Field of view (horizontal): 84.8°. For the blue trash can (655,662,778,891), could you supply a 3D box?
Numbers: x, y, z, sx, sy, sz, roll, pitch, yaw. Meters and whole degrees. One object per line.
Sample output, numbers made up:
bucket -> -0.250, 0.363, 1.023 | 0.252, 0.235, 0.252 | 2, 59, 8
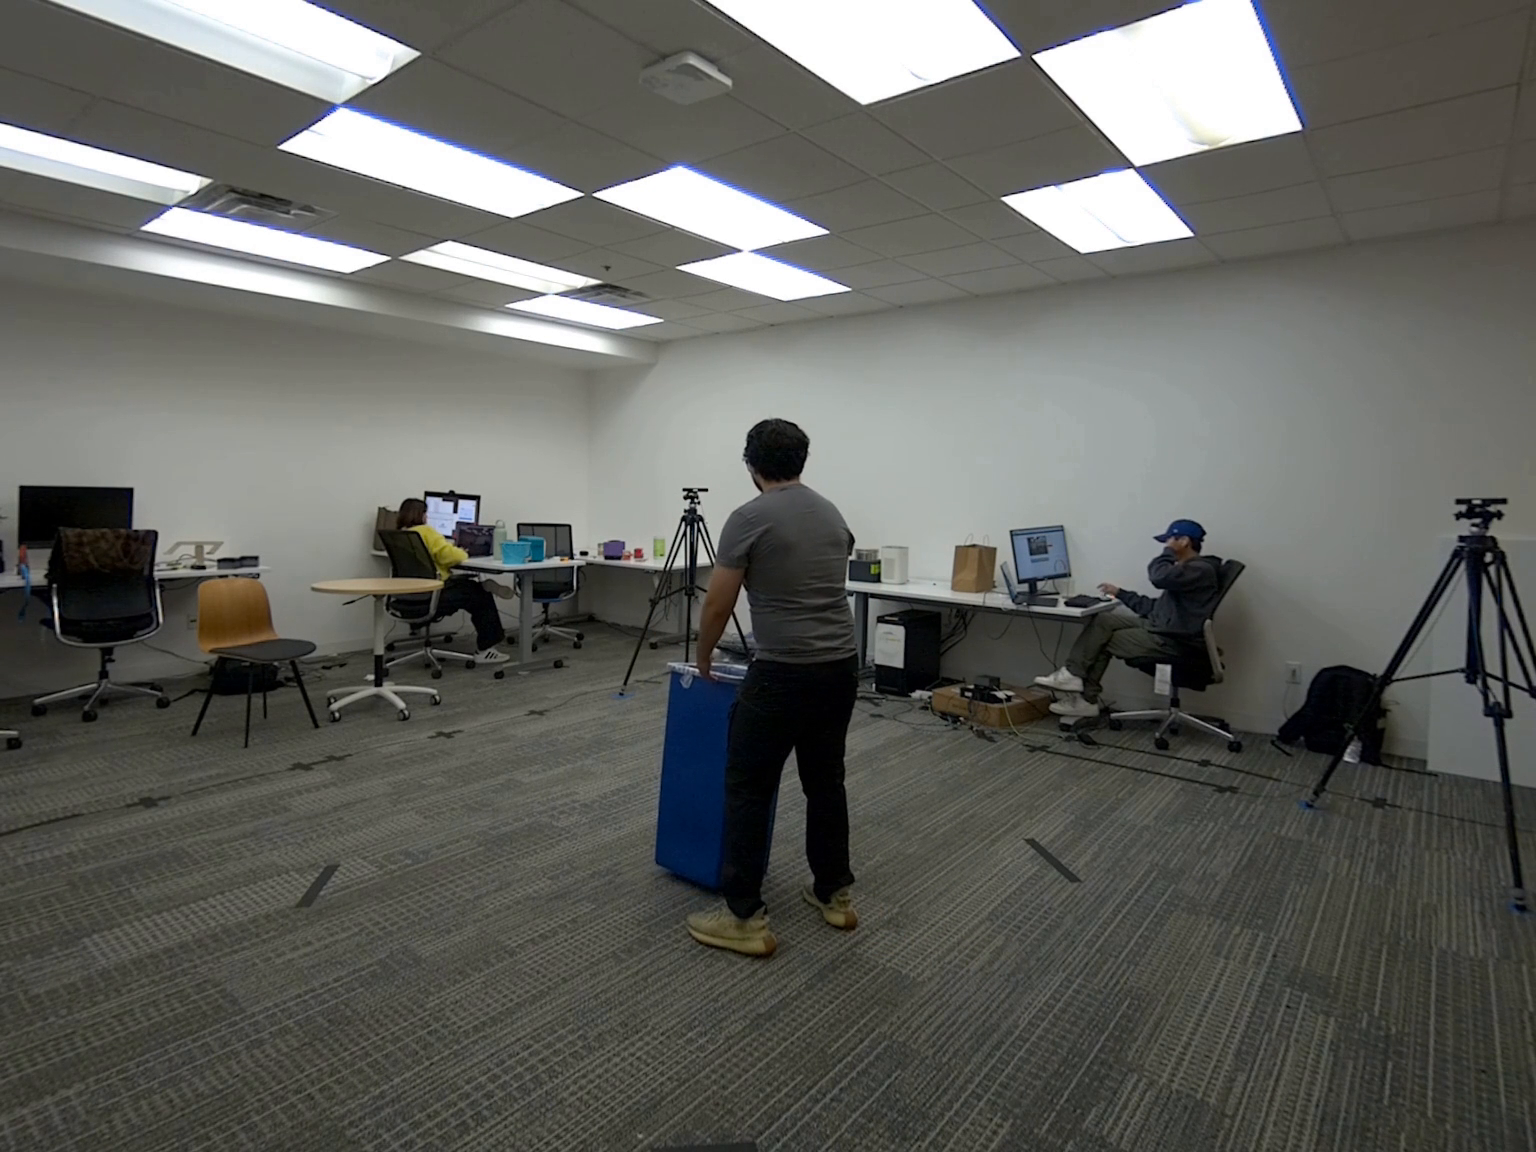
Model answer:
blue trash can -> -0.183, 0.699, 3.099 | 0.386, 0.715, 0.365 | 5, -4, 36
